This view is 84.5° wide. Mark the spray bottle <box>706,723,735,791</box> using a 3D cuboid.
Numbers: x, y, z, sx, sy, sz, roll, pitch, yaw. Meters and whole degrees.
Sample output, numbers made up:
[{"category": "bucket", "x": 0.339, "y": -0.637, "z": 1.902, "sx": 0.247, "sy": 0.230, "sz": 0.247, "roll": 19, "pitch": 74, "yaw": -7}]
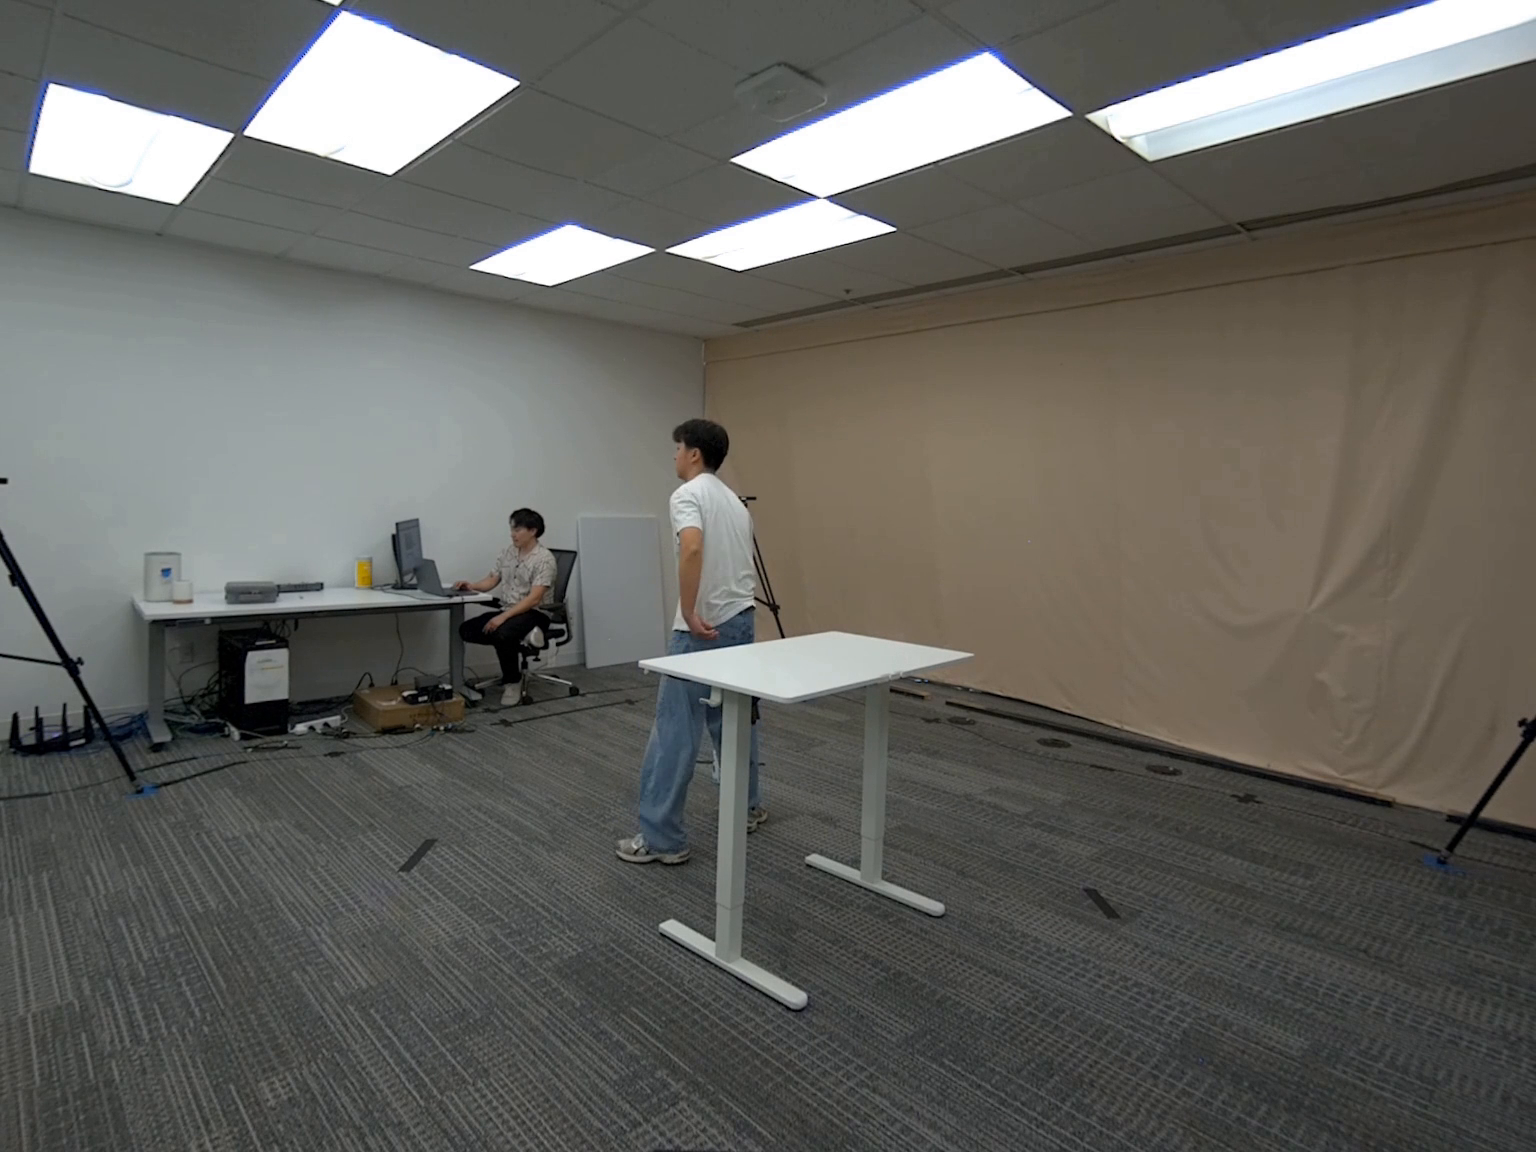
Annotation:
[{"category": "spray bottle", "x": -0.234, "y": 0.879, "z": 4.129, "sx": 0.085, "sy": 0.296, "sz": 0.092, "roll": 0, "pitch": 4, "yaw": -34}]
